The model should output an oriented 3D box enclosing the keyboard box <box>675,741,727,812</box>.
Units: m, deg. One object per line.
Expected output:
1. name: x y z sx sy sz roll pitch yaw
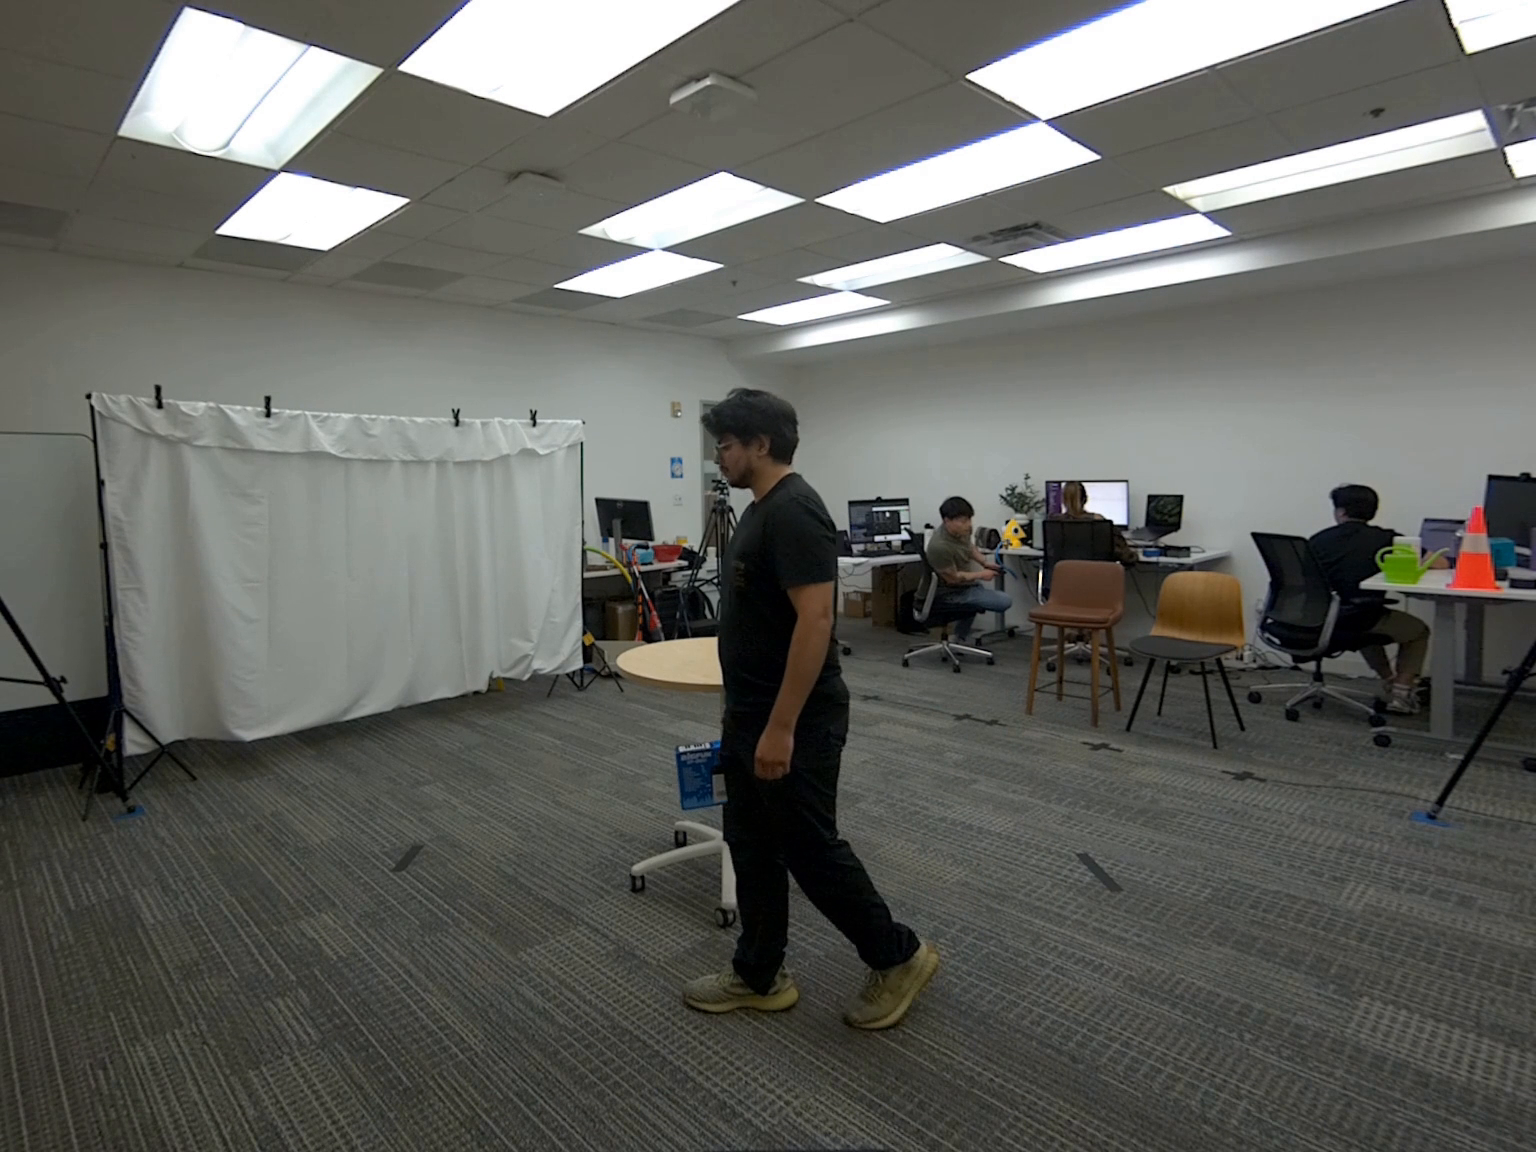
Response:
1. keyboard box: -0.033 0.552 2.479 0.435 0.175 0.060 -4 7 -5
